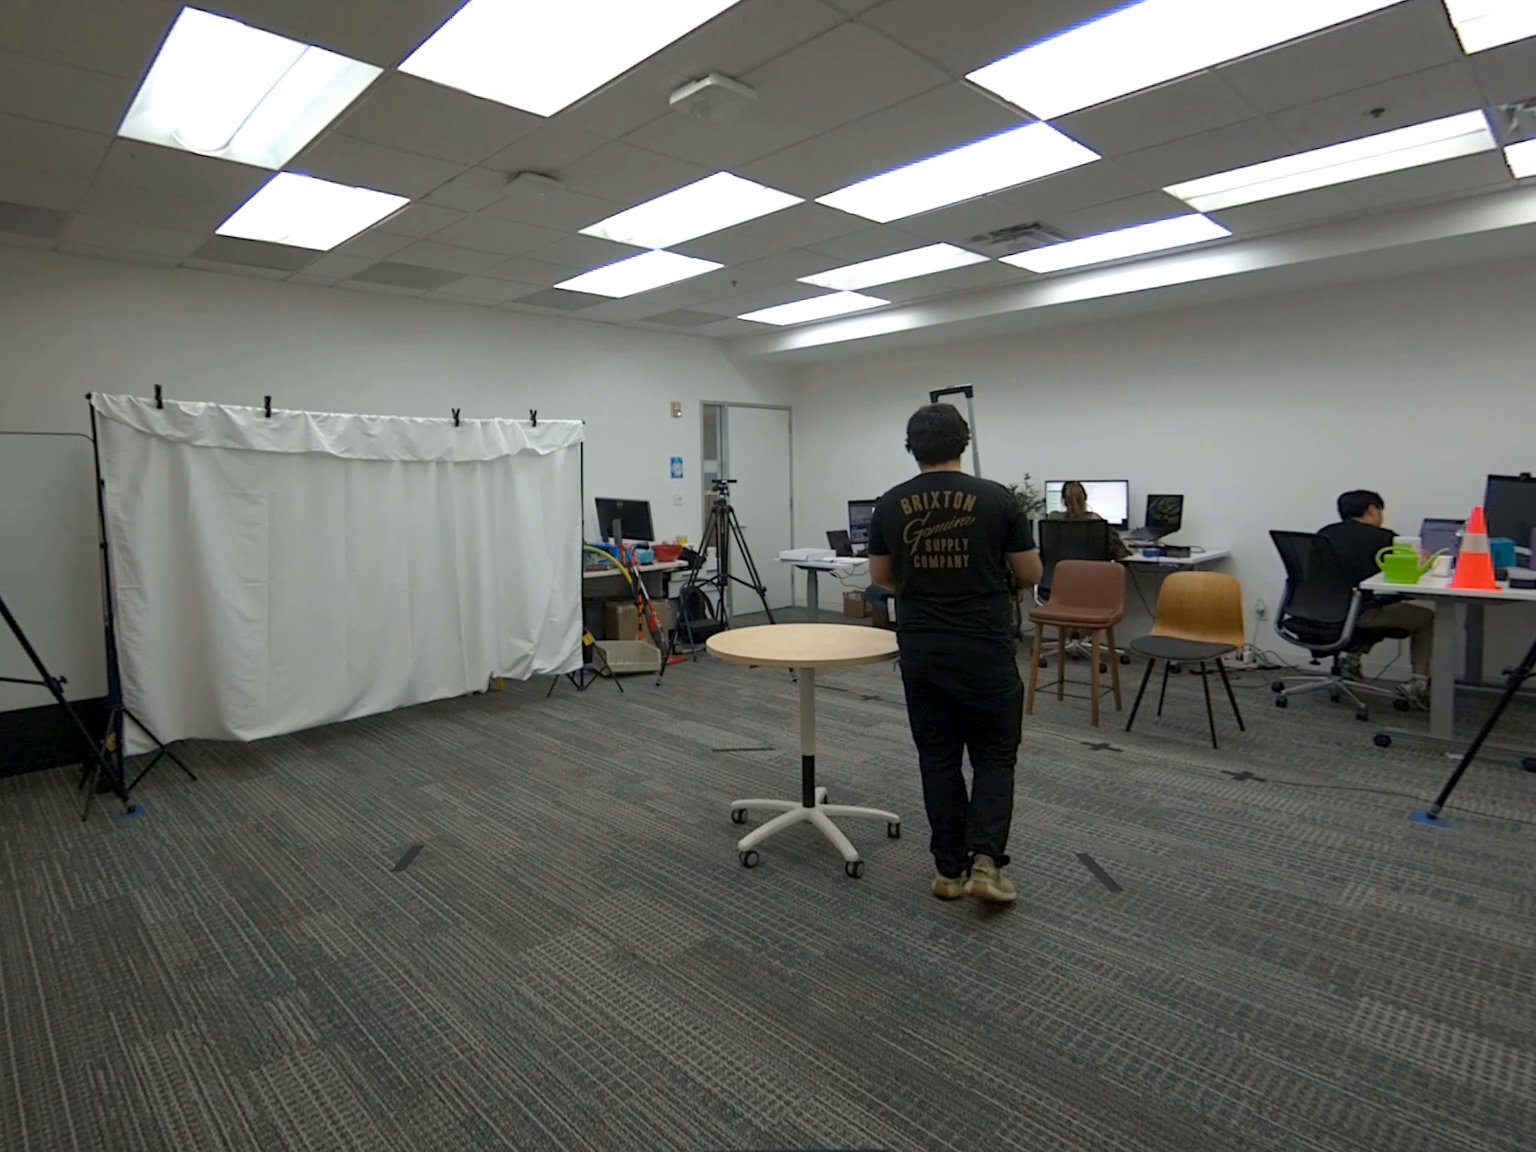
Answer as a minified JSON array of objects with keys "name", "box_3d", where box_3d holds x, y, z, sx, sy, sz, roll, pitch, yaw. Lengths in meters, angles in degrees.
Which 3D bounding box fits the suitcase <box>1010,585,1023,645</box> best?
[{"name":"suitcase","box_3d":[0.727,-0.208,3.165,0.391,0.975,0.253,-6,4,22]}]
